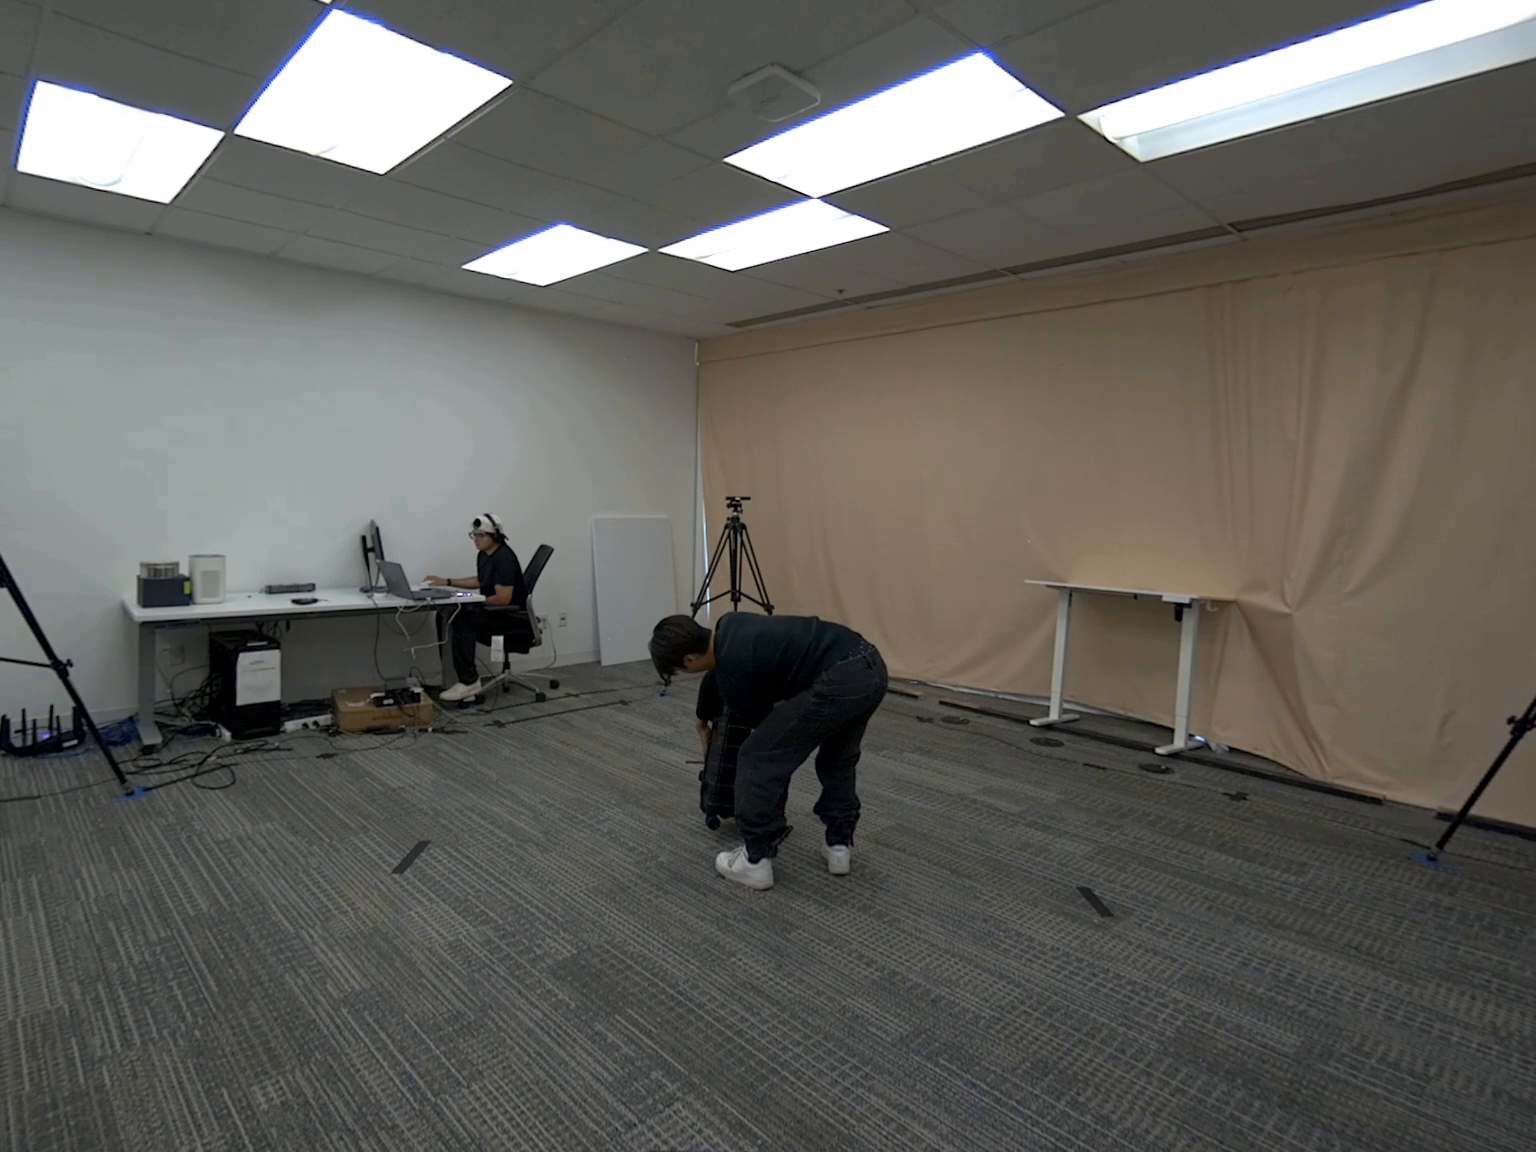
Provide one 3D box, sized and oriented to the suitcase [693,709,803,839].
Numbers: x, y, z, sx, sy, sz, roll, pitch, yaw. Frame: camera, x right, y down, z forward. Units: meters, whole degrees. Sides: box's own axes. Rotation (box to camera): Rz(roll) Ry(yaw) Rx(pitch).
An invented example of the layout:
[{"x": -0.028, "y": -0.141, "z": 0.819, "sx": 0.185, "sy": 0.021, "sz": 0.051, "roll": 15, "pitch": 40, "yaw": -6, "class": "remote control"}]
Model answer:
[{"x": -0.074, "y": 0.762, "z": 3.533, "sx": 0.372, "sy": 0.549, "sz": 0.251, "roll": 8, "pitch": 1, "yaw": -11, "class": "suitcase"}]
